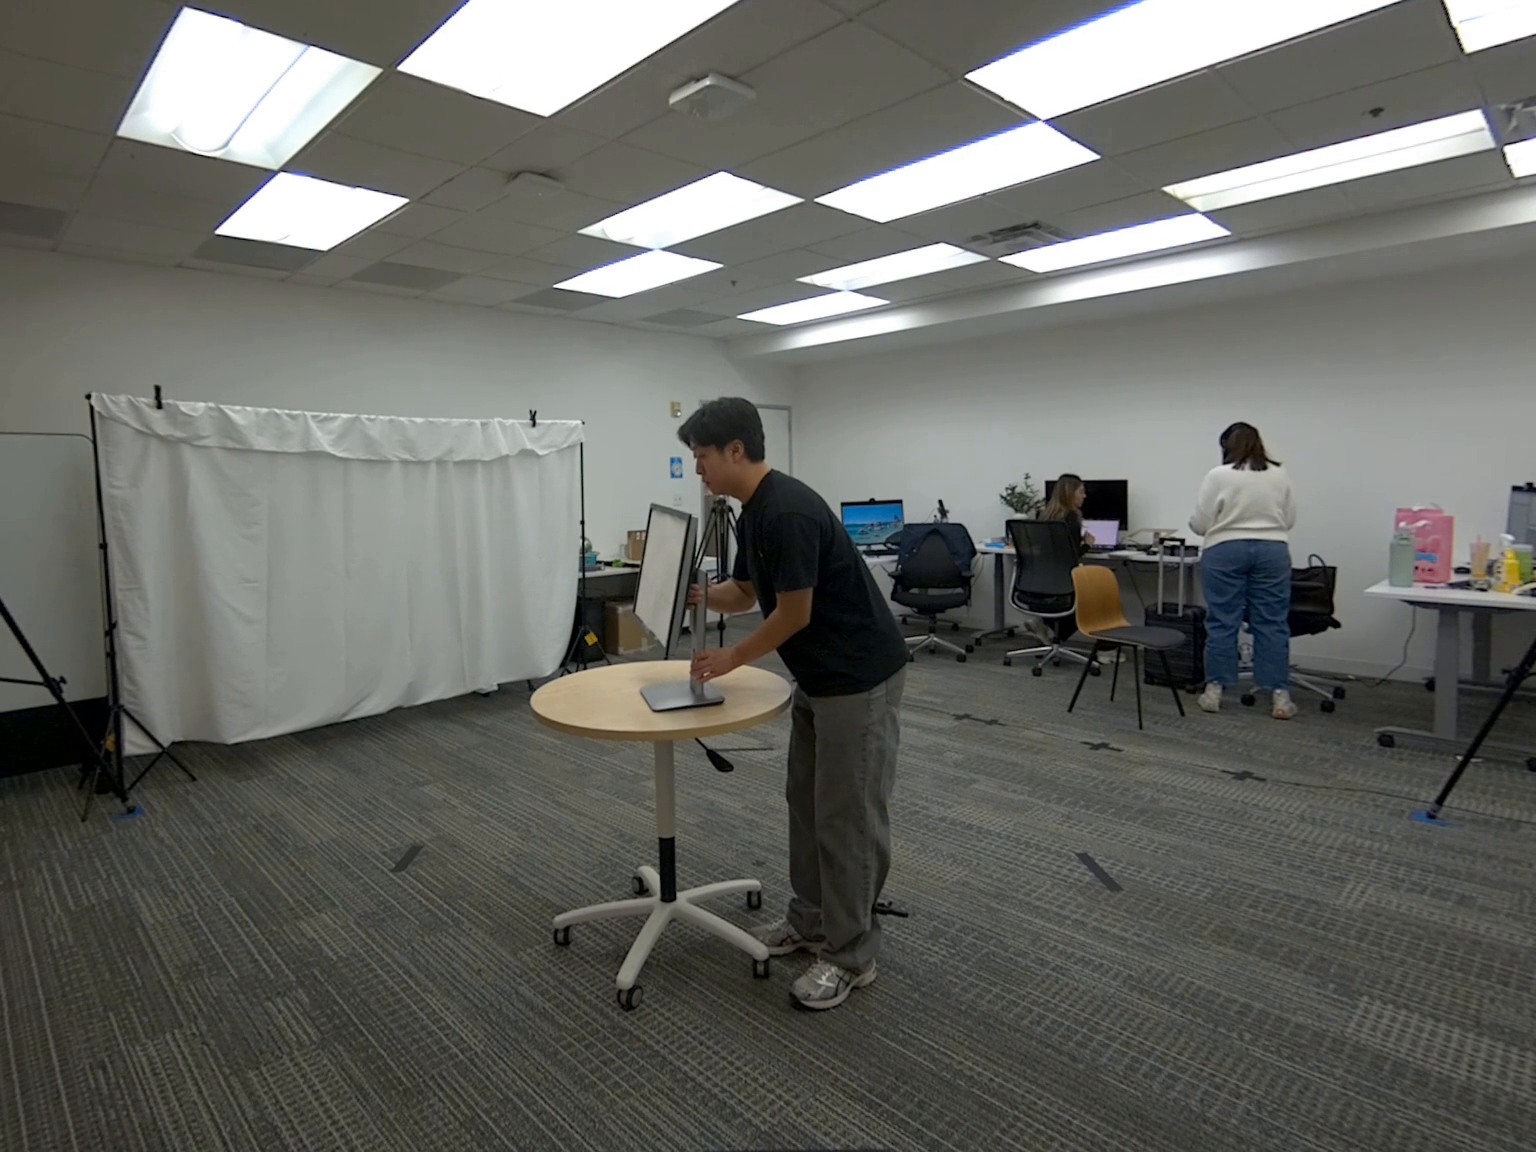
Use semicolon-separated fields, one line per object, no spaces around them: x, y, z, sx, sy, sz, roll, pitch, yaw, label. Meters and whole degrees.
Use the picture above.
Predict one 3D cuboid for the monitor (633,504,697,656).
-0.263;0.087;2.412;0.220;0.562;0.571;-6;7;-13;monitor
